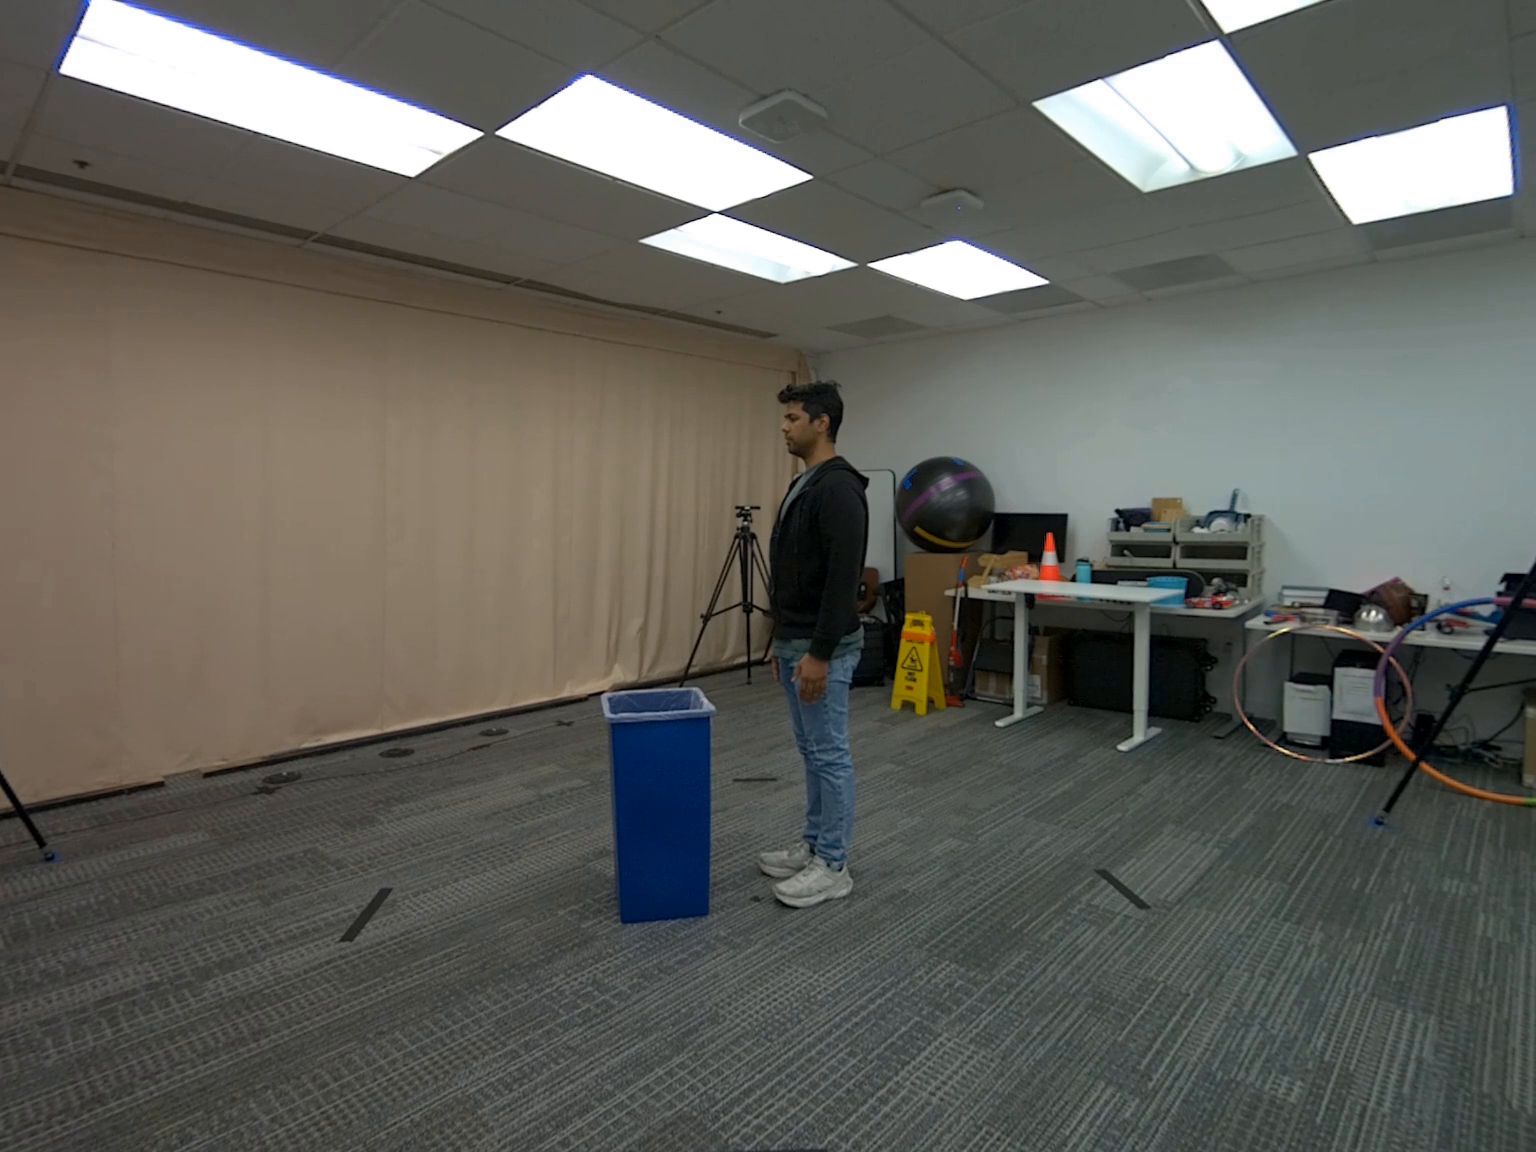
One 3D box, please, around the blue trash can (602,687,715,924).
[{"bbox_3d":[-0.391,0.793,2.963,0.369,0.712,0.383,-2,3,-13],"label":"blue trash can"}]
